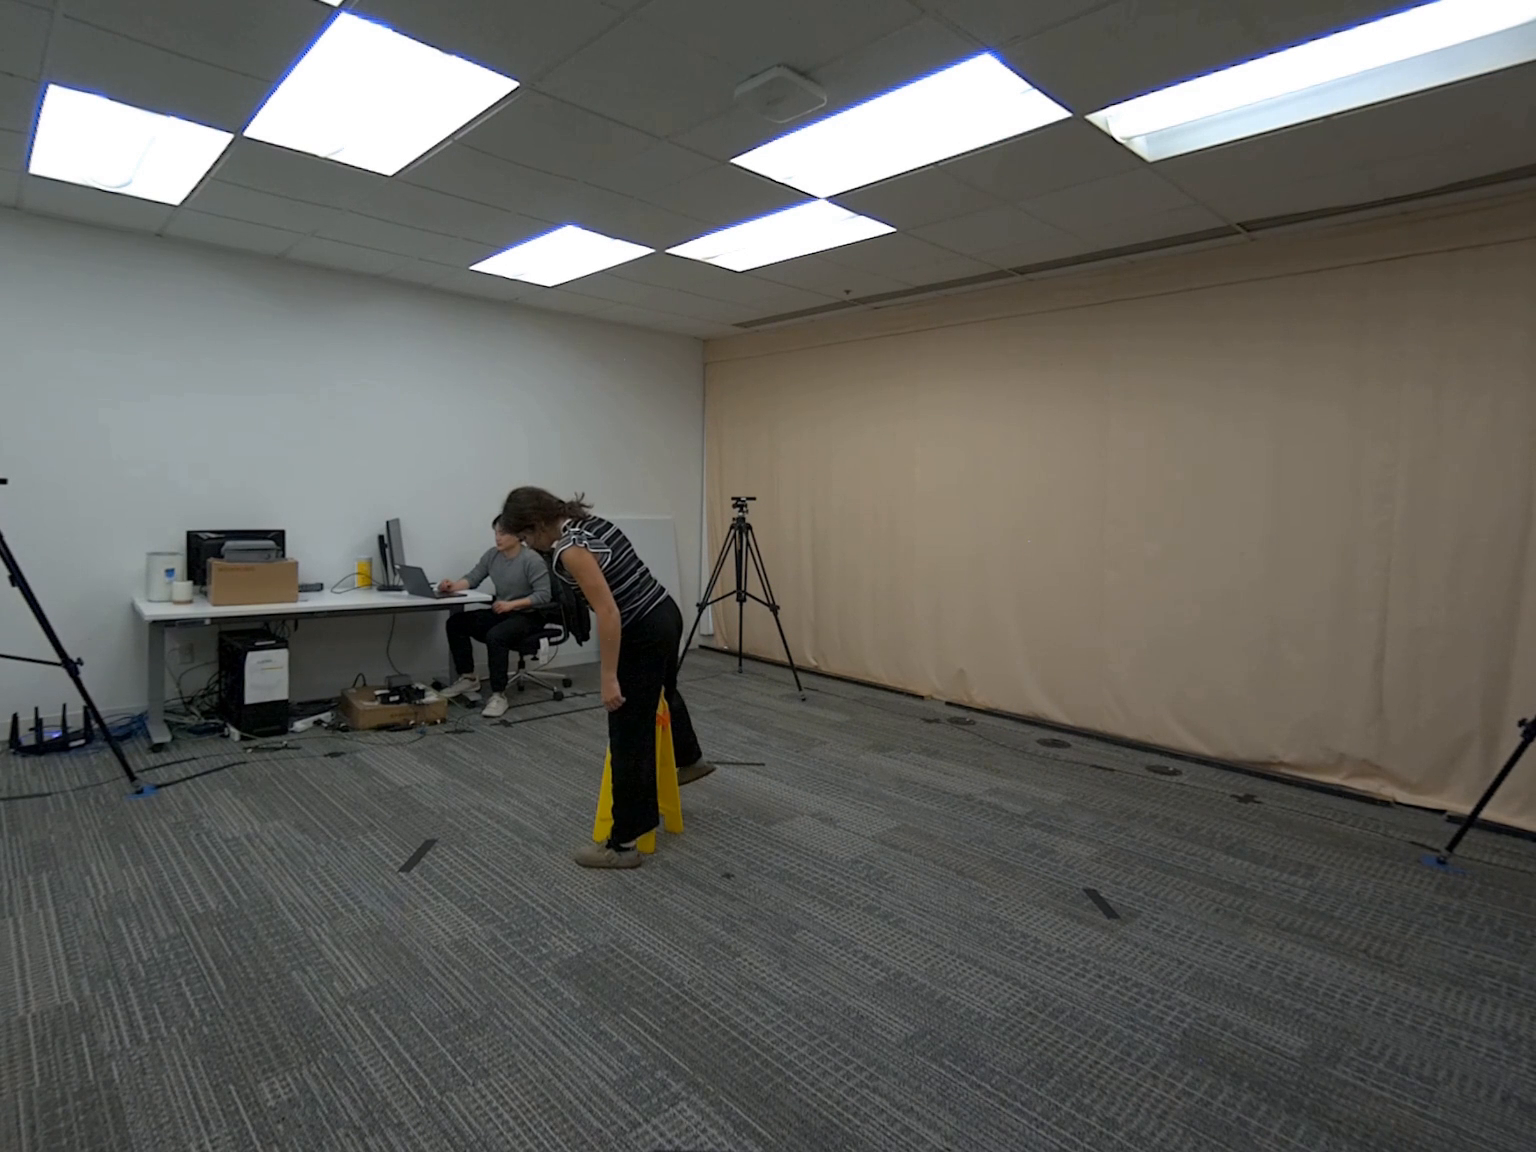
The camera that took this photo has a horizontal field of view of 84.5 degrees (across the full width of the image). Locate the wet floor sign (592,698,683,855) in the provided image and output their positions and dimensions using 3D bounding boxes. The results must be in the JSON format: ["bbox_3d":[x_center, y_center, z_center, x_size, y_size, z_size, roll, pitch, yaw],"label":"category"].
[{"bbox_3d":[-0.527,0.749,3.435,0.287,0.645,0.285,3,2,23],"label":"wet floor sign"}]
